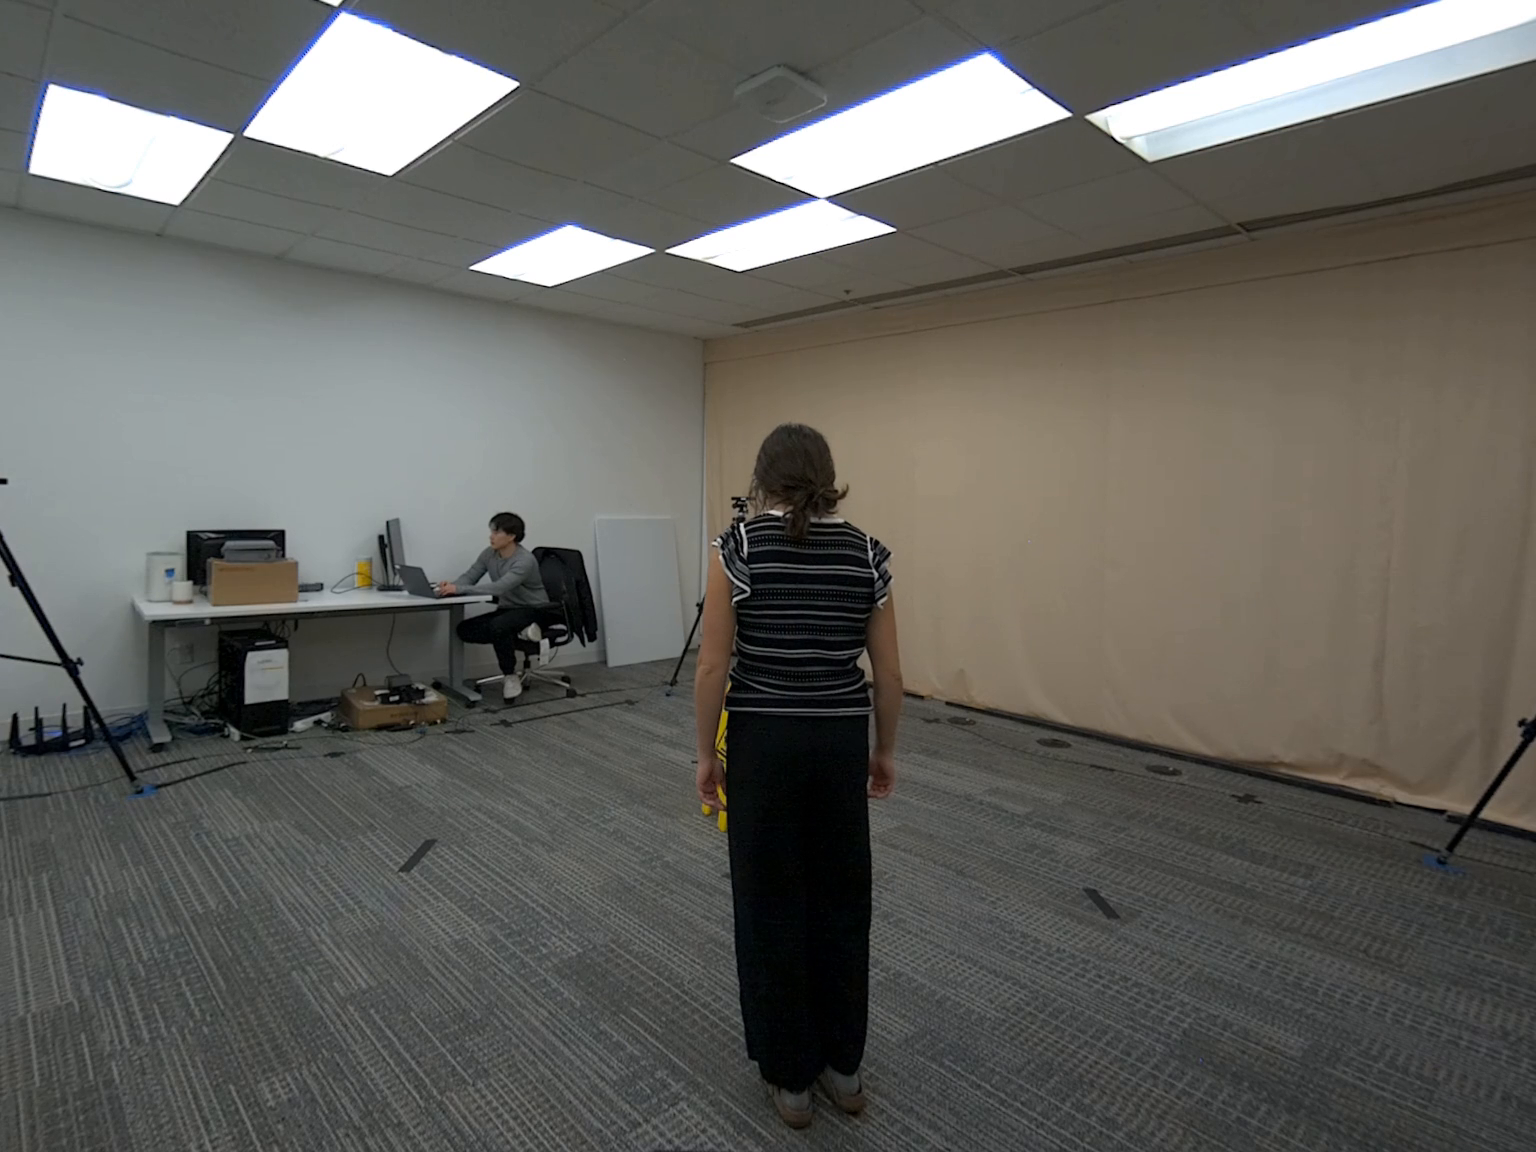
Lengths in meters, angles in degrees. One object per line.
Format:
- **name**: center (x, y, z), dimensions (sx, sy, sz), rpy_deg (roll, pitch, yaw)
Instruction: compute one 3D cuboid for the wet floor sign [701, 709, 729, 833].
- **wet floor sign**: center (-0.126, 0.738, 3.667), dimensions (0.285, 0.645, 0.287), rpy_deg (1, 3, -21)
